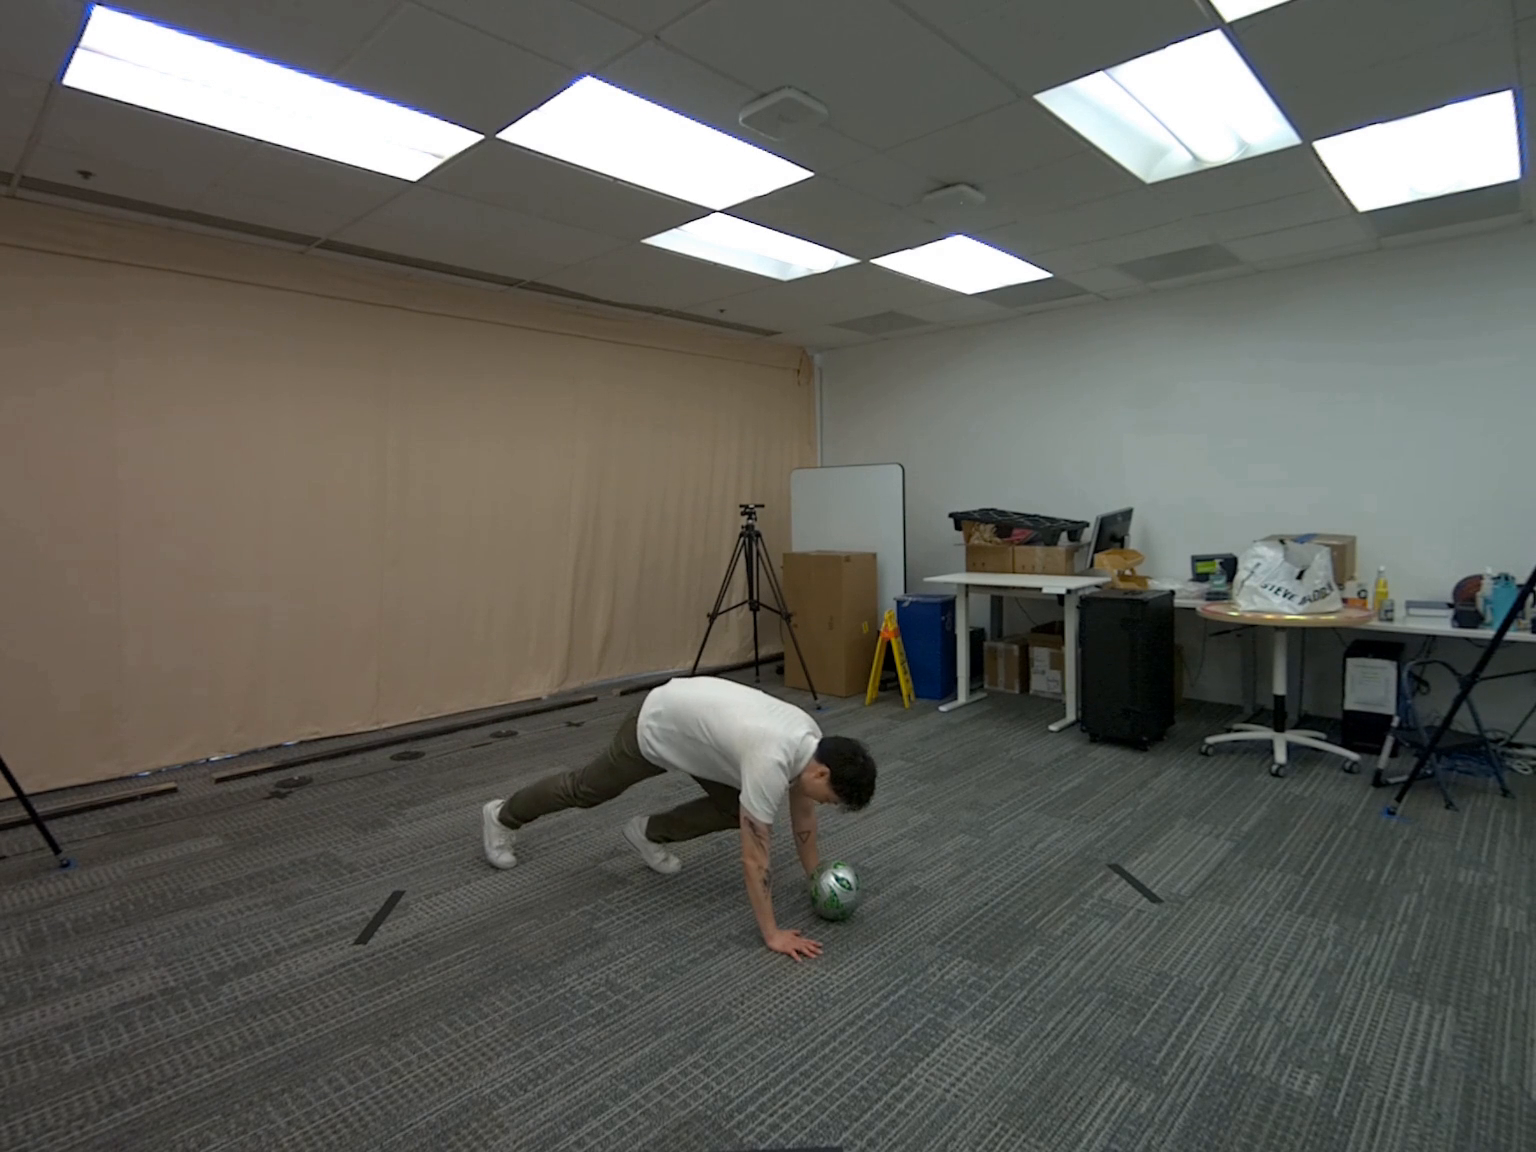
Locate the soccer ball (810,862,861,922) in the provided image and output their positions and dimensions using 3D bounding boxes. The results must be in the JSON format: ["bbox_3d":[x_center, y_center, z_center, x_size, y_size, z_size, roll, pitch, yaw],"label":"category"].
[{"bbox_3d":[0.230,1.052,2.835,0.187,0.187,0.188,-1,4,-2],"label":"soccer ball"}]
